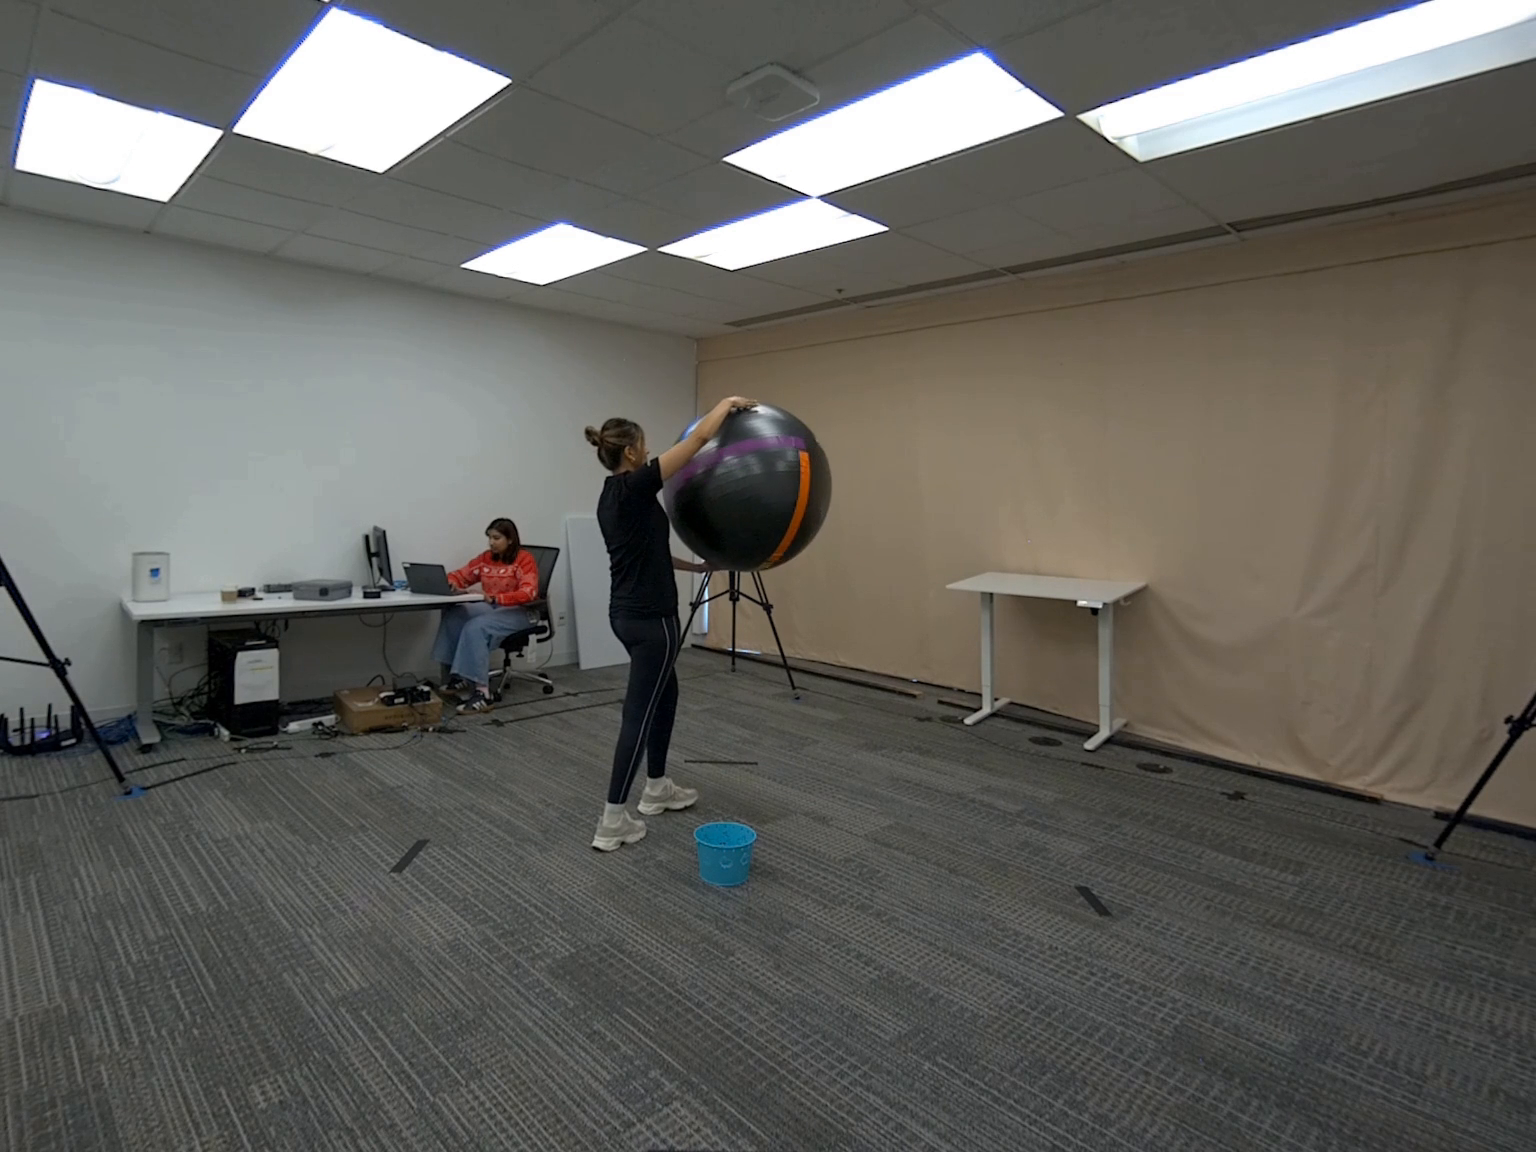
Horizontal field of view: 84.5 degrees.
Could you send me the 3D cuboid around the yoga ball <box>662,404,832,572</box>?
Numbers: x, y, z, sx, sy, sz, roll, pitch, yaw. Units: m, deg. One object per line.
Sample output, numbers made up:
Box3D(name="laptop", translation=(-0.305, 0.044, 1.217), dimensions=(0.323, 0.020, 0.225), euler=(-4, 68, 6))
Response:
Box3D(name="yoga ball", translation=(-0.097, -0.392, 3.766), dimensions=(0.757, 0.756, 0.761), euler=(1, 4, -1))
